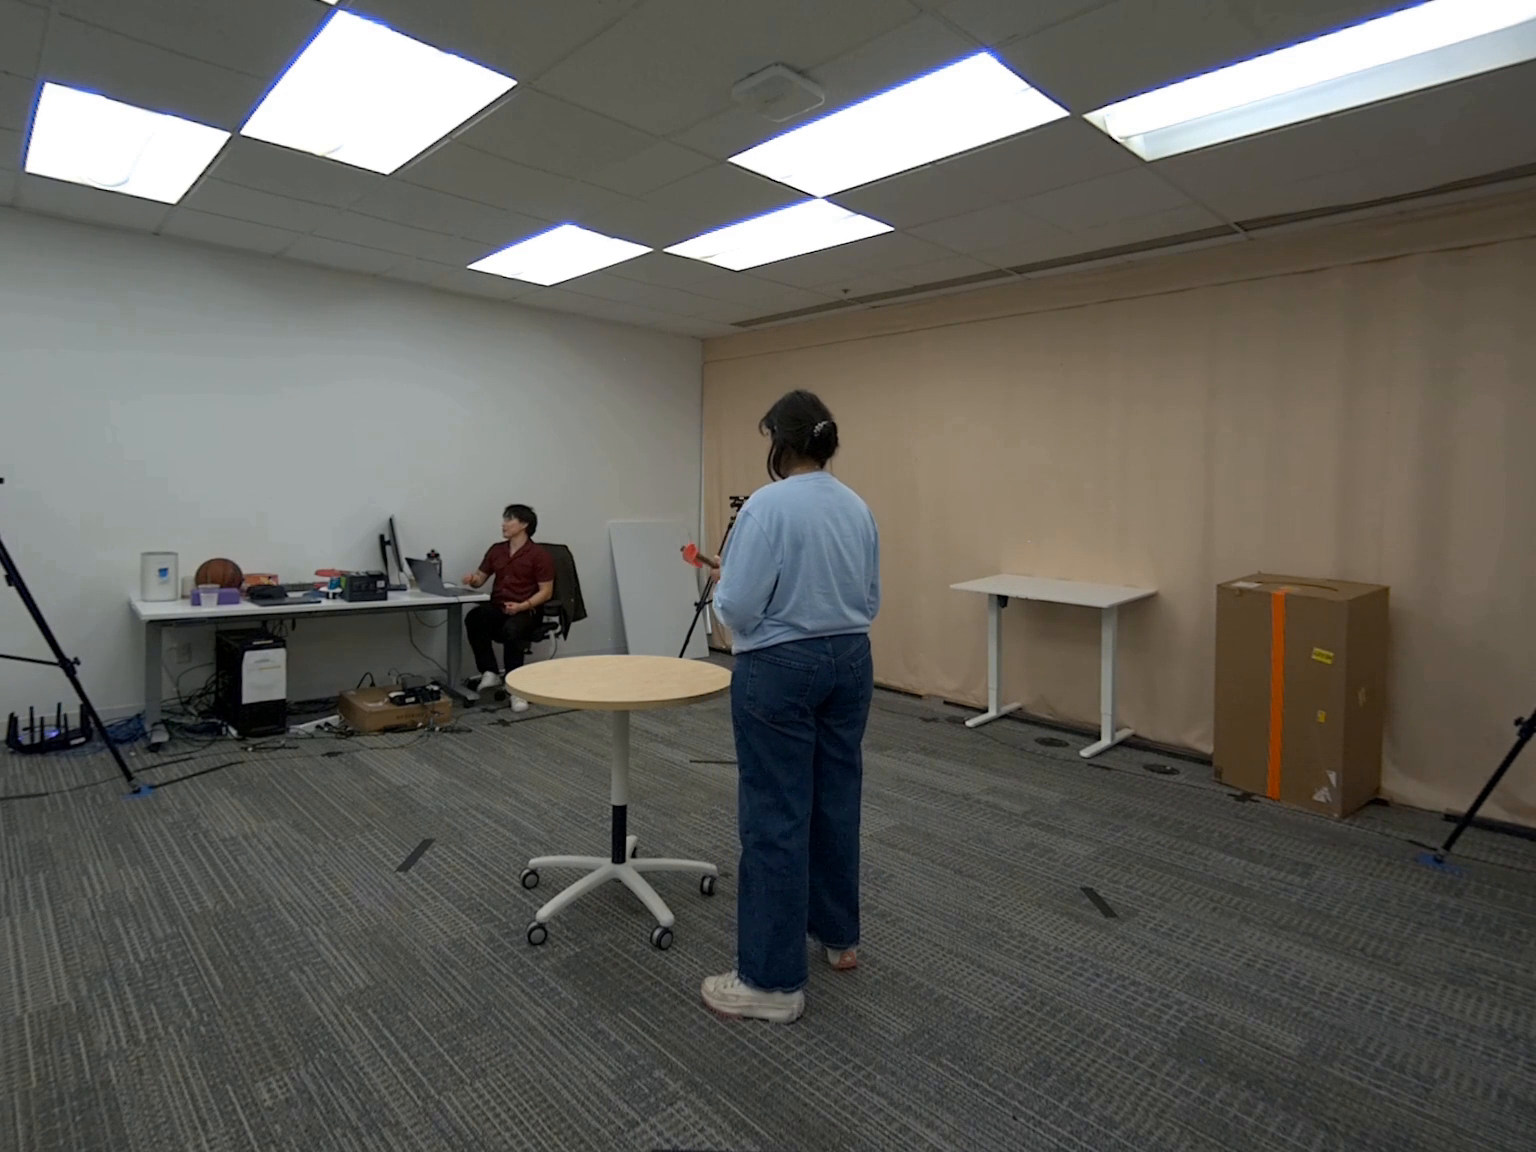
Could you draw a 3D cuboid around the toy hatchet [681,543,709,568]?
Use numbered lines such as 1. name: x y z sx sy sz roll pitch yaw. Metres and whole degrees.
1. toy hatchet: -0.155 -0.010 2.556 0.267 0.030 0.132 37 -28 -11
